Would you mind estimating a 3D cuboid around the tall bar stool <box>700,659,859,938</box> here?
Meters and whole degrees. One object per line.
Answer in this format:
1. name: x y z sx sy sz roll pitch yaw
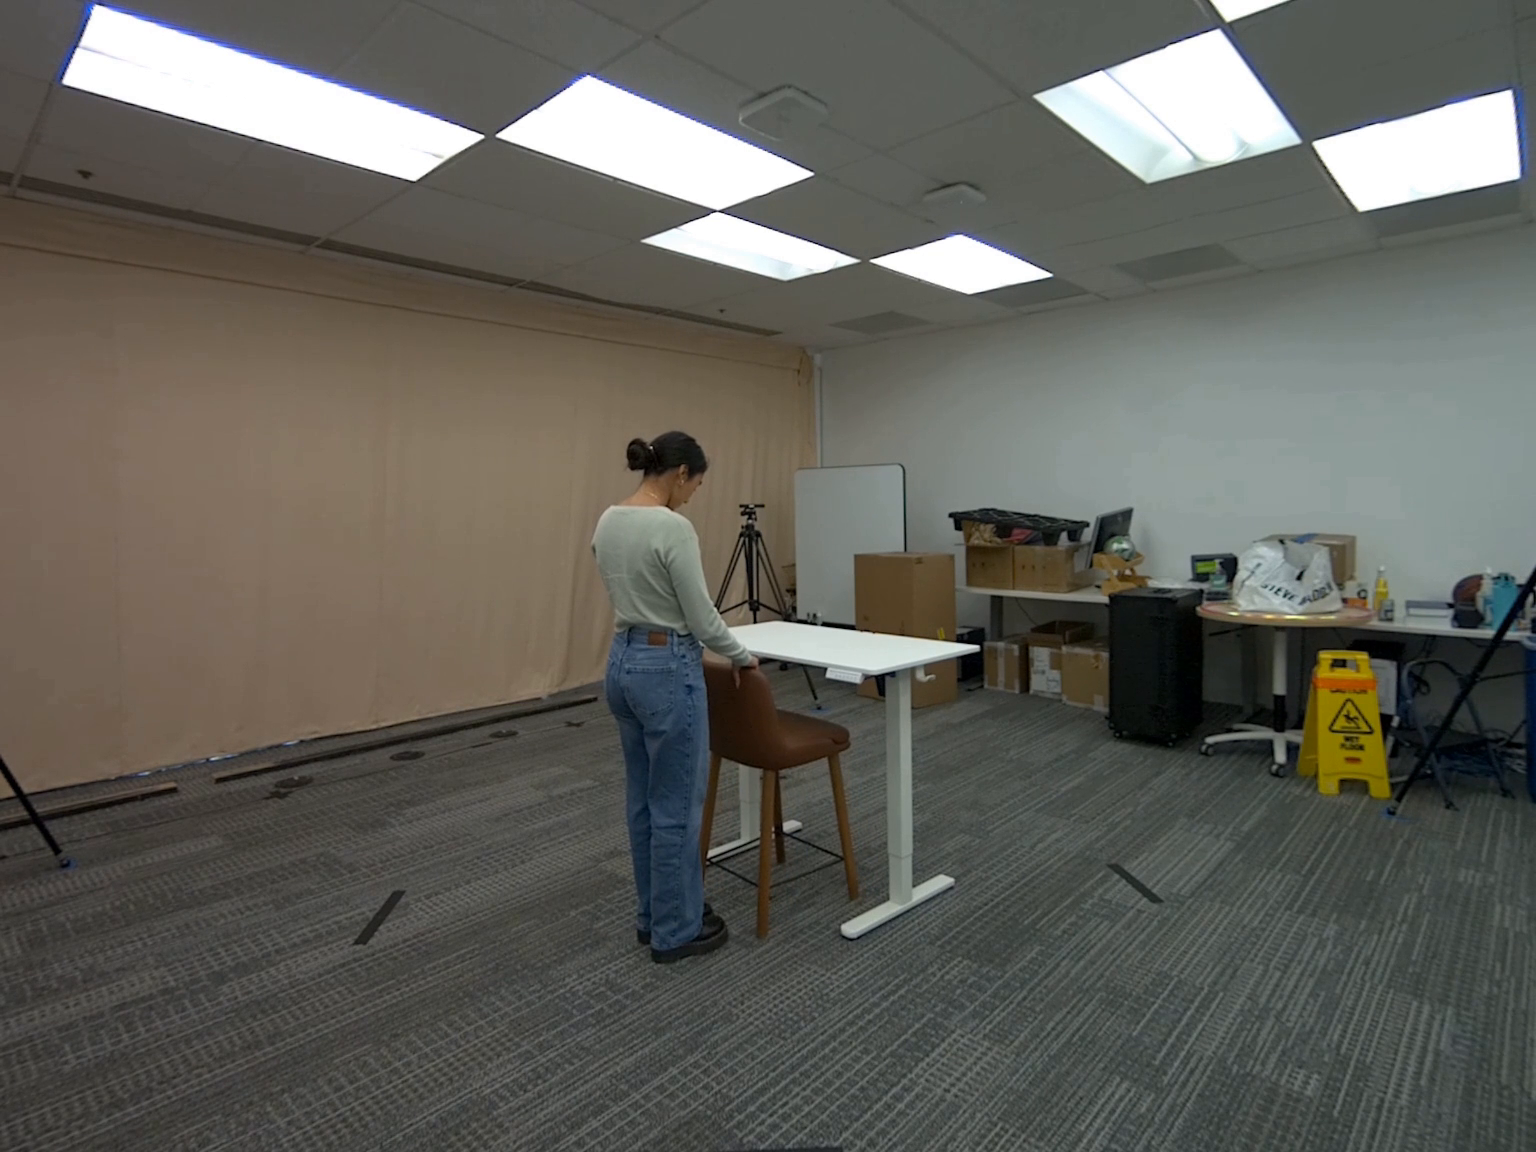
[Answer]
1. tall bar stool: 0.005 0.704 2.950 0.454 0.886 0.471 -7 7 -39
